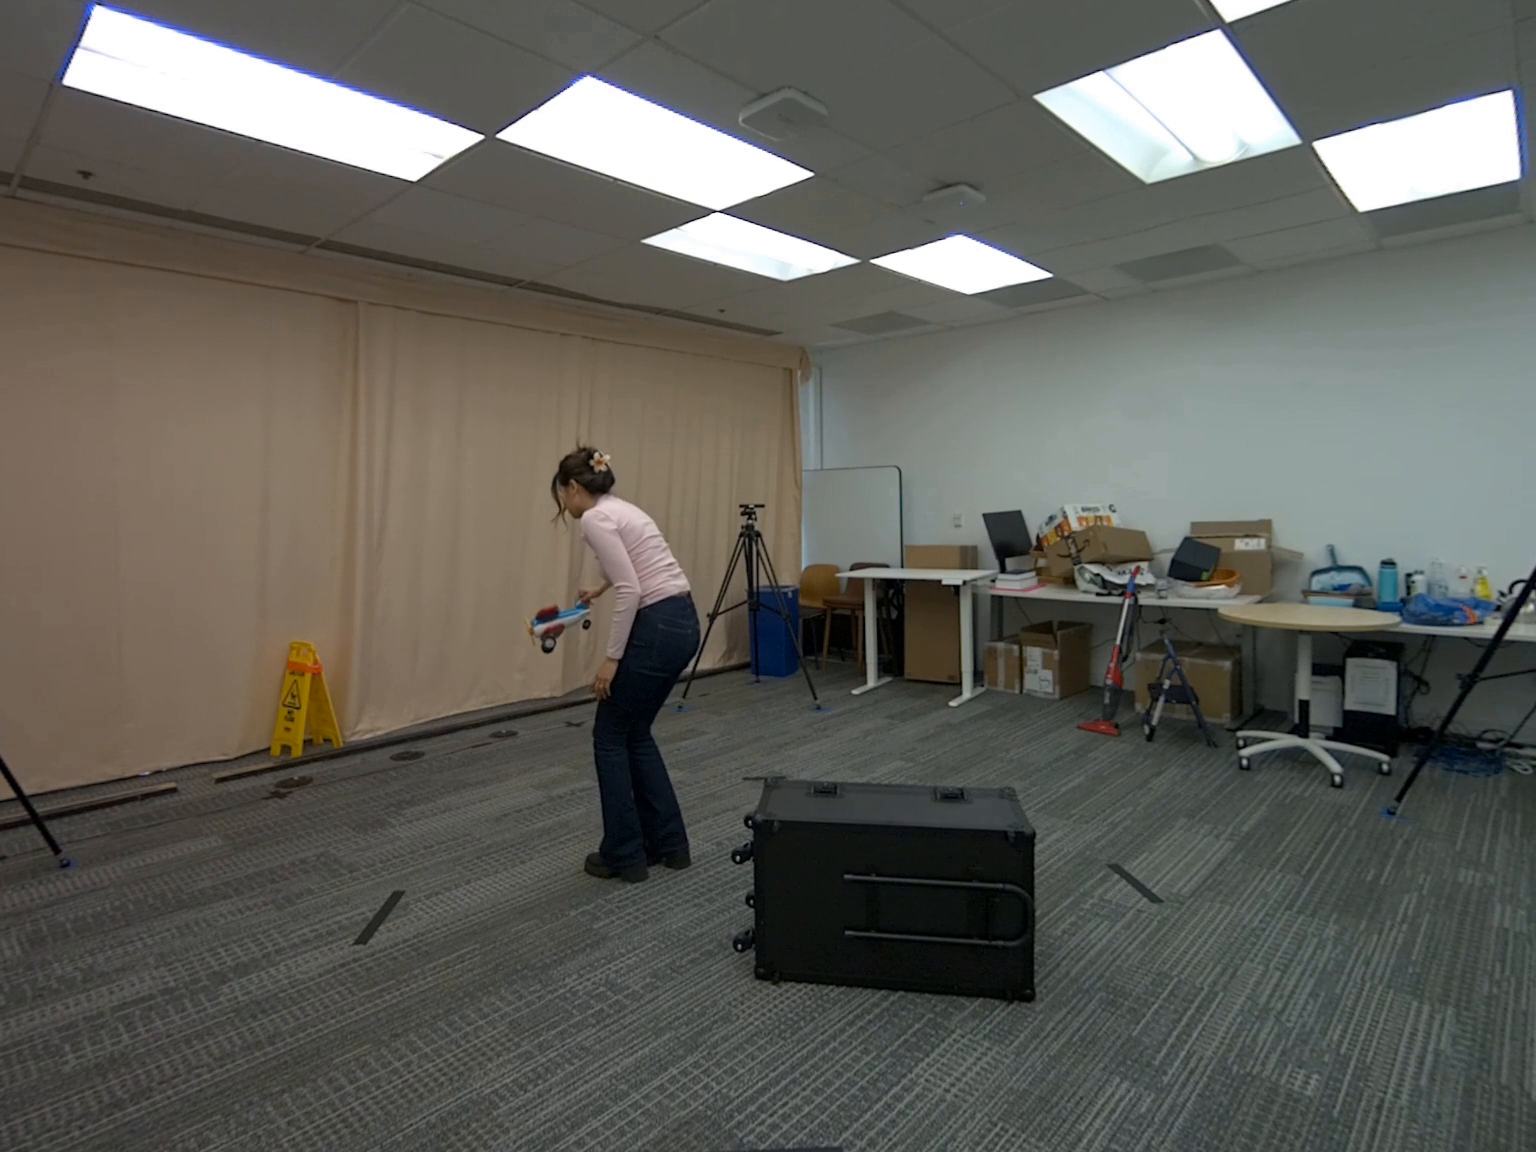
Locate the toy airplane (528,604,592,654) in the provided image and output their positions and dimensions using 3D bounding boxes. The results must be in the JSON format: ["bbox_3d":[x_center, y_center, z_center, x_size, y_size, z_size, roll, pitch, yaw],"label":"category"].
[{"bbox_3d":[-0.865,0.209,3.487,0.255,0.157,0.254,-35,-4,38],"label":"toy airplane"}]
